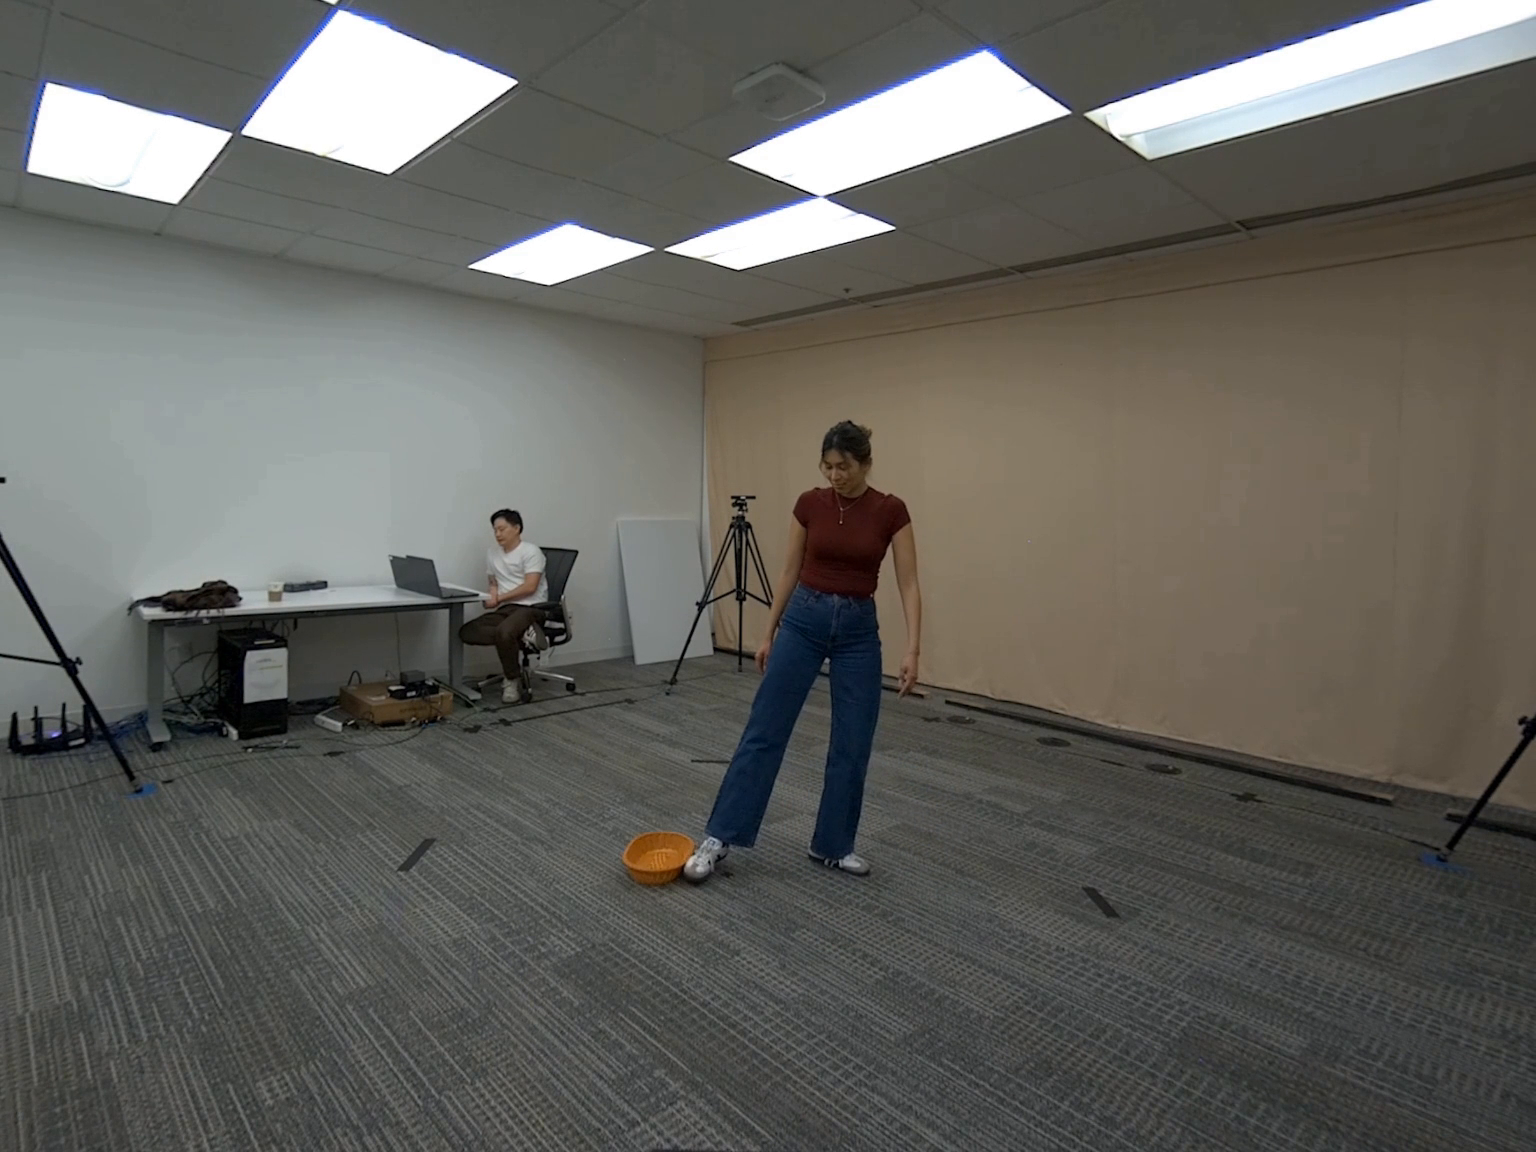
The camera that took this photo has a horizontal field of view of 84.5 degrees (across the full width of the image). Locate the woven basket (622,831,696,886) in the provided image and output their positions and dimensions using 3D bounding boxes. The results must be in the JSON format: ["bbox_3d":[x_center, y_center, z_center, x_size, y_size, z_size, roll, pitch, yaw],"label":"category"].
[{"bbox_3d":[-0.410,1.045,3.144,0.254,0.073,0.349,2,5,7],"label":"woven basket"}]
